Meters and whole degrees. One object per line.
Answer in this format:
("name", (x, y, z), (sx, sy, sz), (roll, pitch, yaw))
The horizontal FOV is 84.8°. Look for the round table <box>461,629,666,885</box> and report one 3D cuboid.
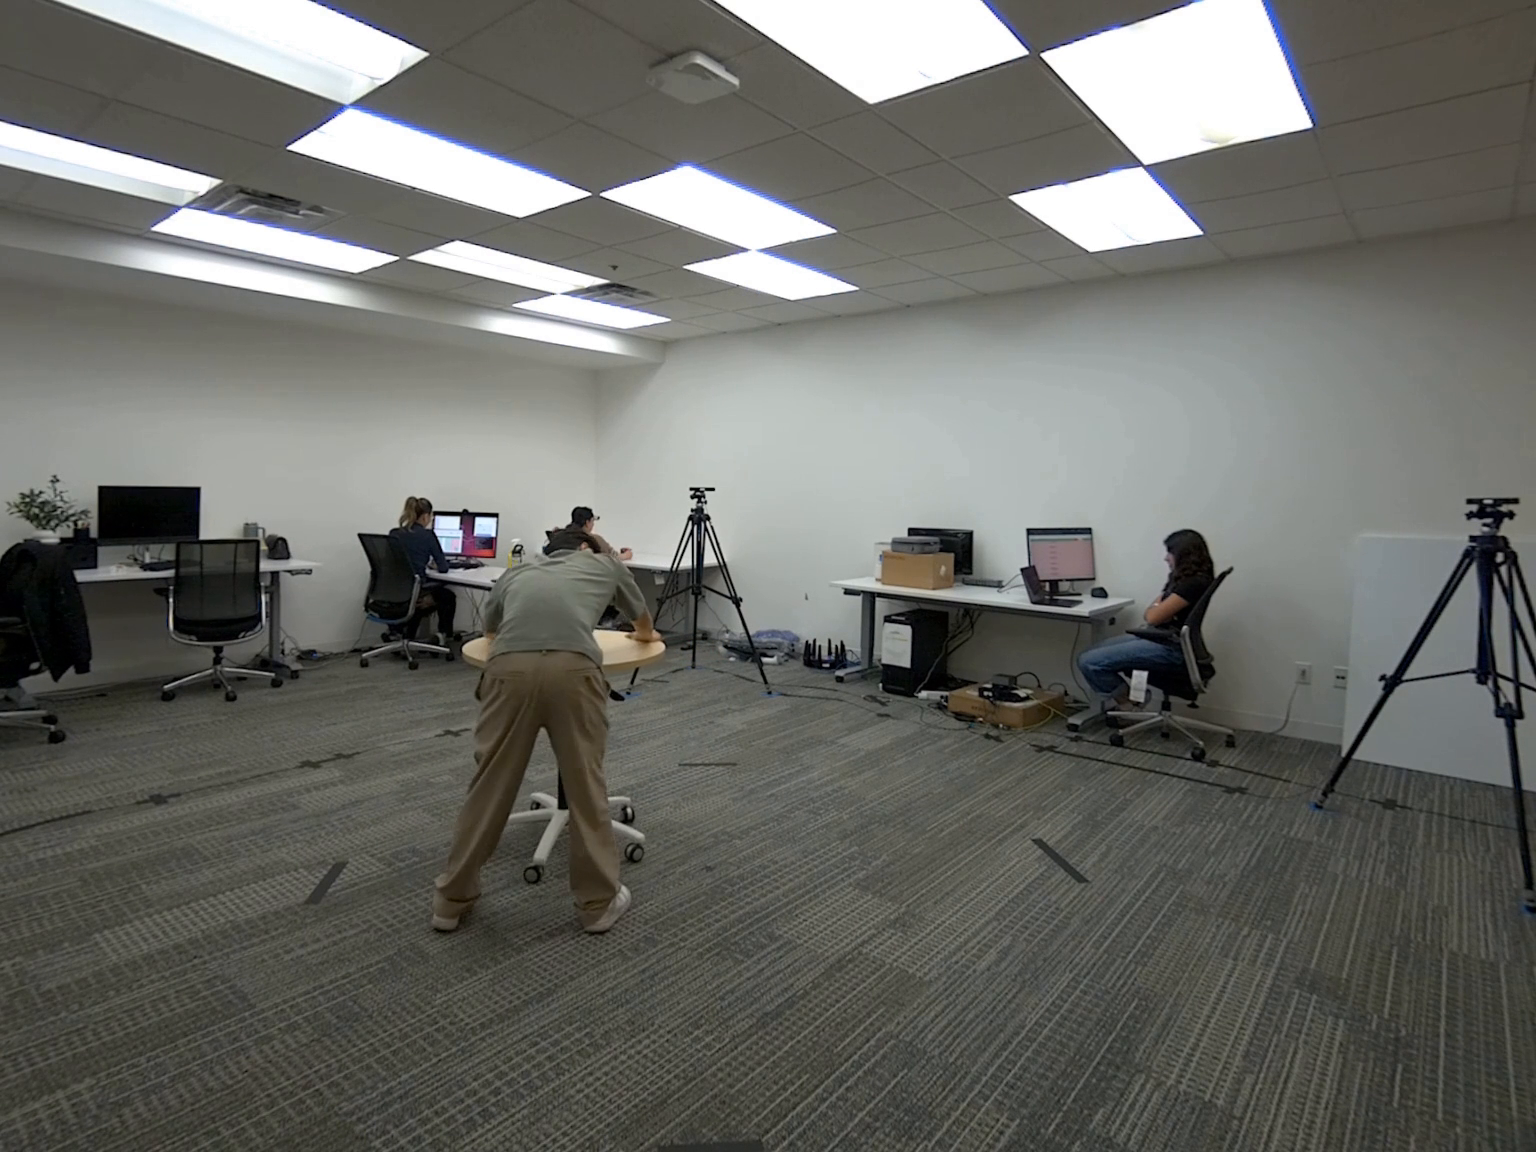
("round table", (-0.810, 0.648, 3.288), (0.784, 0.784, 0.789), (1, 4, -2))
